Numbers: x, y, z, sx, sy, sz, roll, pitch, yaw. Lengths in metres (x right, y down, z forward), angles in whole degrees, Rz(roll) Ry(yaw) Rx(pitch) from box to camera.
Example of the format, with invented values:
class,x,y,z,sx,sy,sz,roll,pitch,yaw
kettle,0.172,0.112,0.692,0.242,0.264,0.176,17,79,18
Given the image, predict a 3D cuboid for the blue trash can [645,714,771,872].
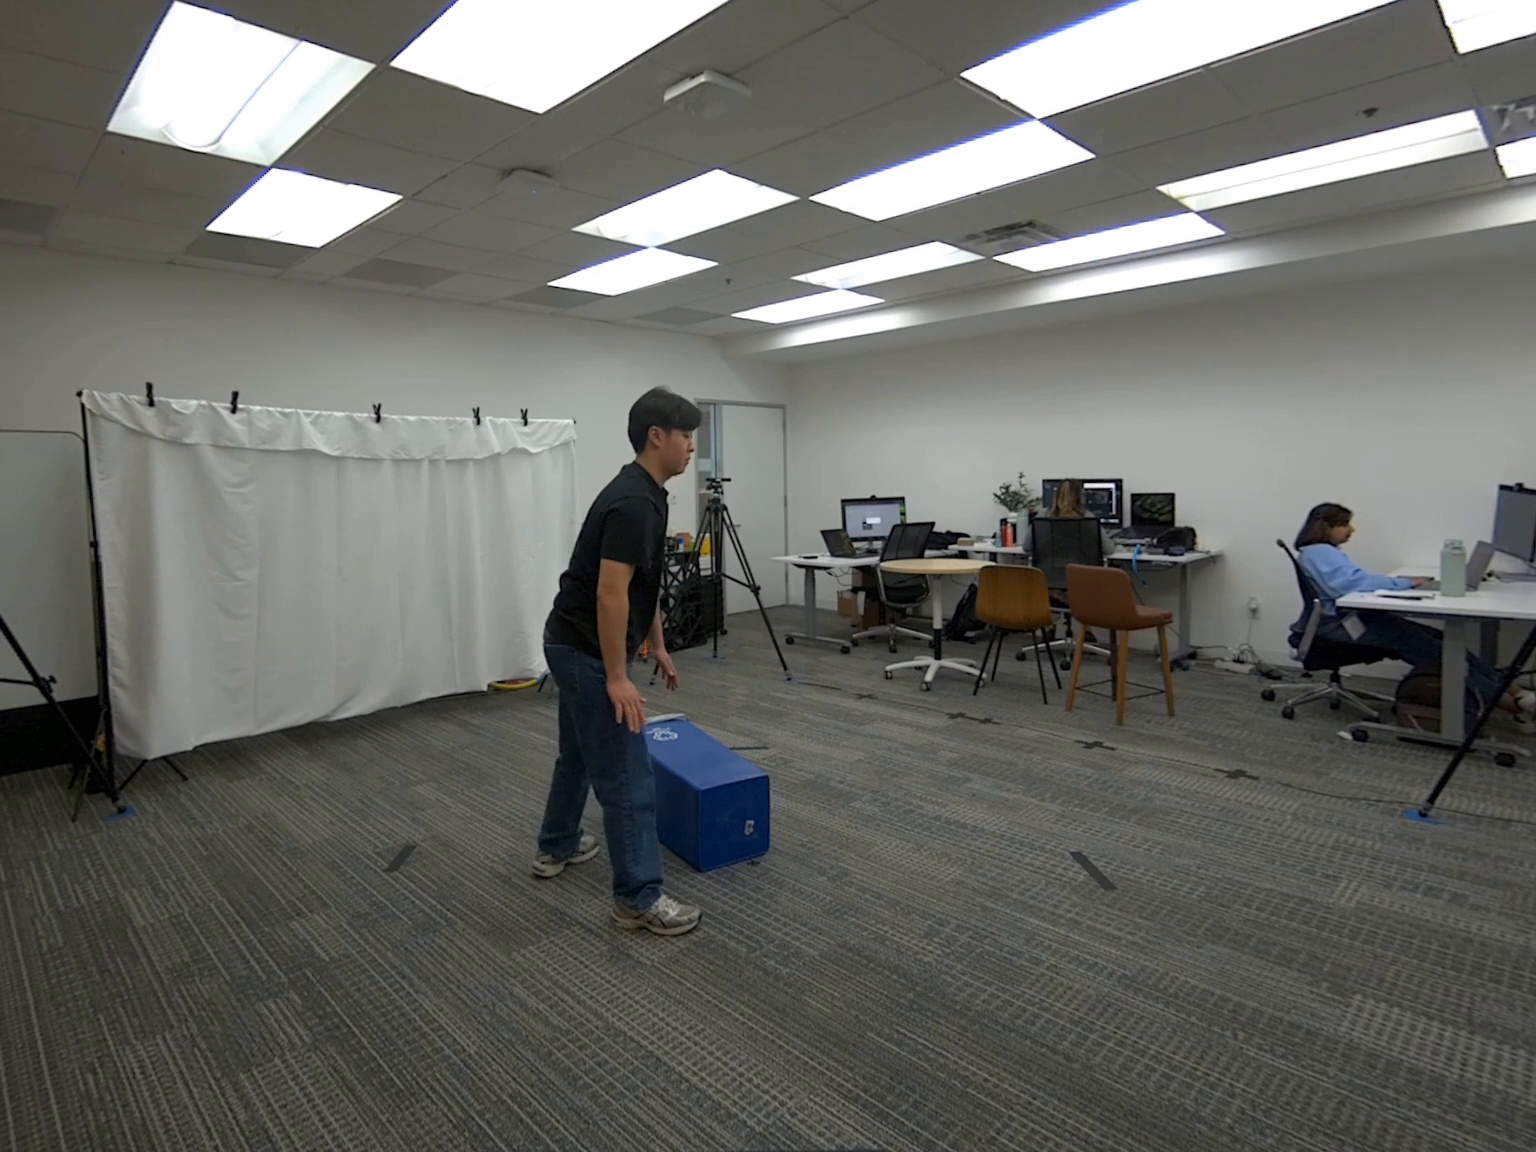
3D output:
class,x,y,z,sx,sy,sz,roll,pitch,yaw
blue trash can,-0.308,0.847,3.399,0.365,0.375,0.736,-4,10,-33
